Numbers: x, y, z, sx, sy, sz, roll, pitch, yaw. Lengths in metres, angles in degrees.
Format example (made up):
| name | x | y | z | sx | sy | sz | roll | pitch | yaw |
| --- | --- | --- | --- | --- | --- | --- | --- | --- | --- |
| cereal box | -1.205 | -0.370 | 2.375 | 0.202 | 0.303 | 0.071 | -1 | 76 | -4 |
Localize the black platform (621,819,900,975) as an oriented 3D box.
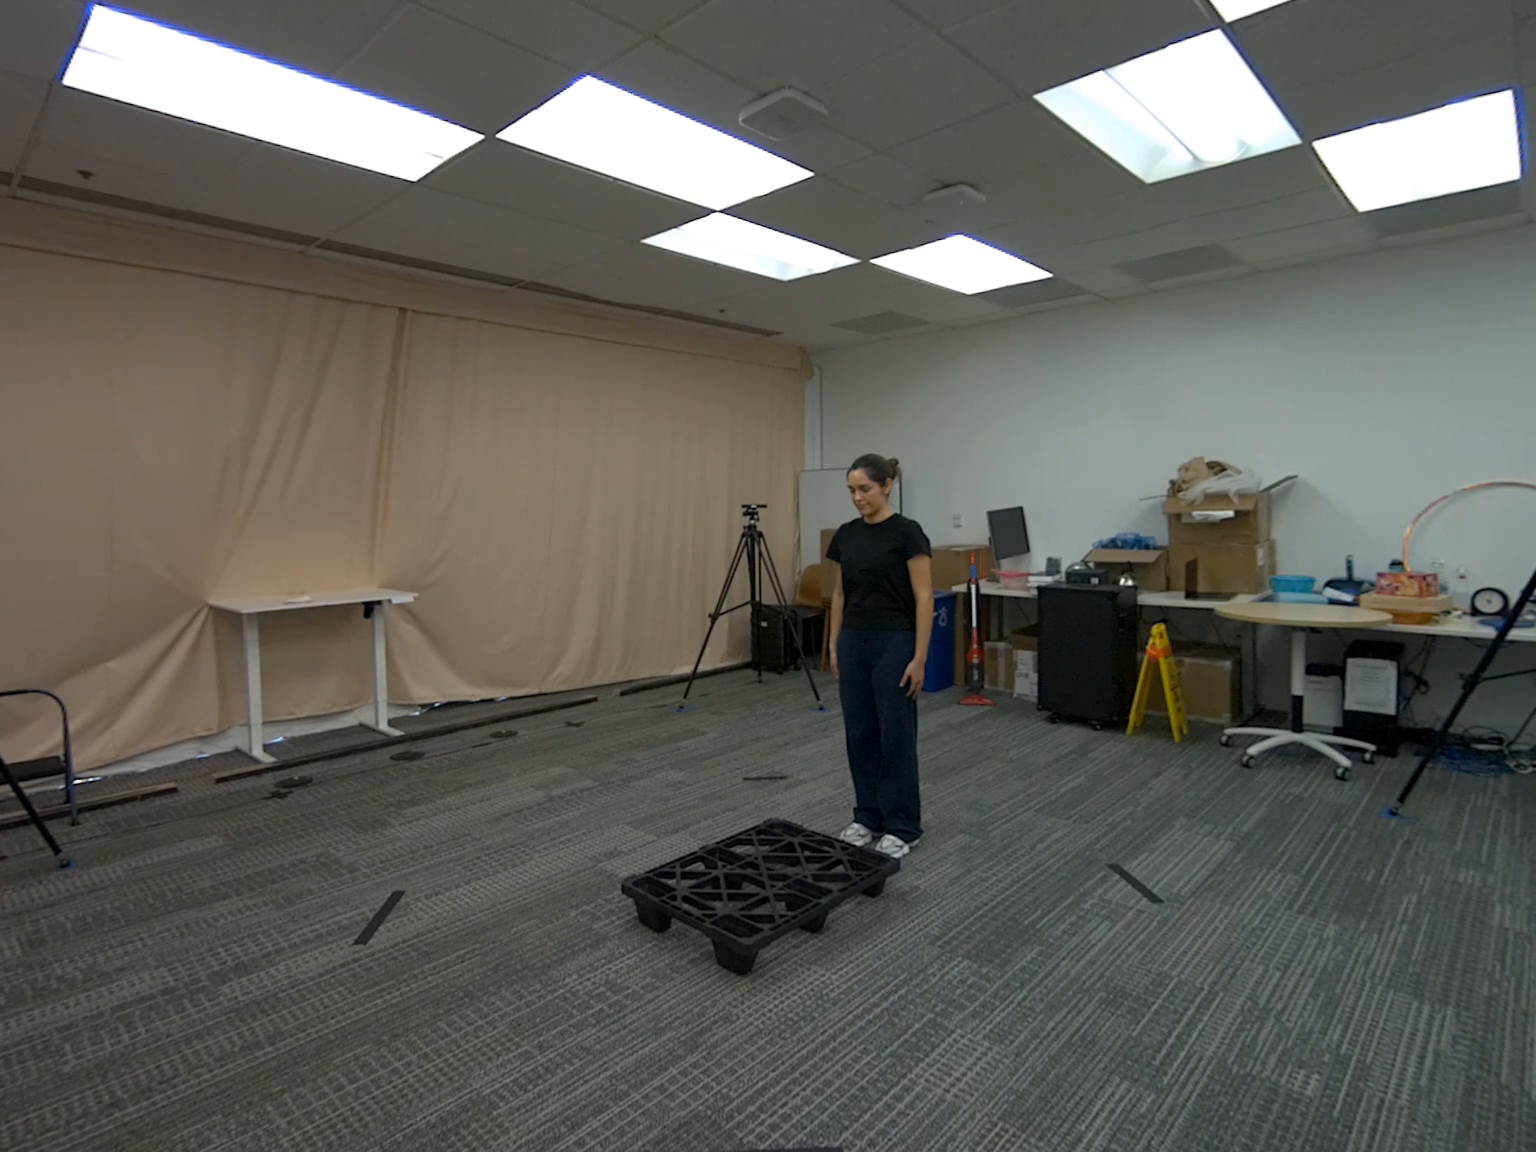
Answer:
| name | x | y | z | sx | sy | sz | roll | pitch | yaw |
| --- | --- | --- | --- | --- | --- | --- | --- | --- | --- |
| black platform | 0.007 | 1.083 | 2.903 | 0.625 | 0.143 | 0.781 | 5 | 8 | 43 |
